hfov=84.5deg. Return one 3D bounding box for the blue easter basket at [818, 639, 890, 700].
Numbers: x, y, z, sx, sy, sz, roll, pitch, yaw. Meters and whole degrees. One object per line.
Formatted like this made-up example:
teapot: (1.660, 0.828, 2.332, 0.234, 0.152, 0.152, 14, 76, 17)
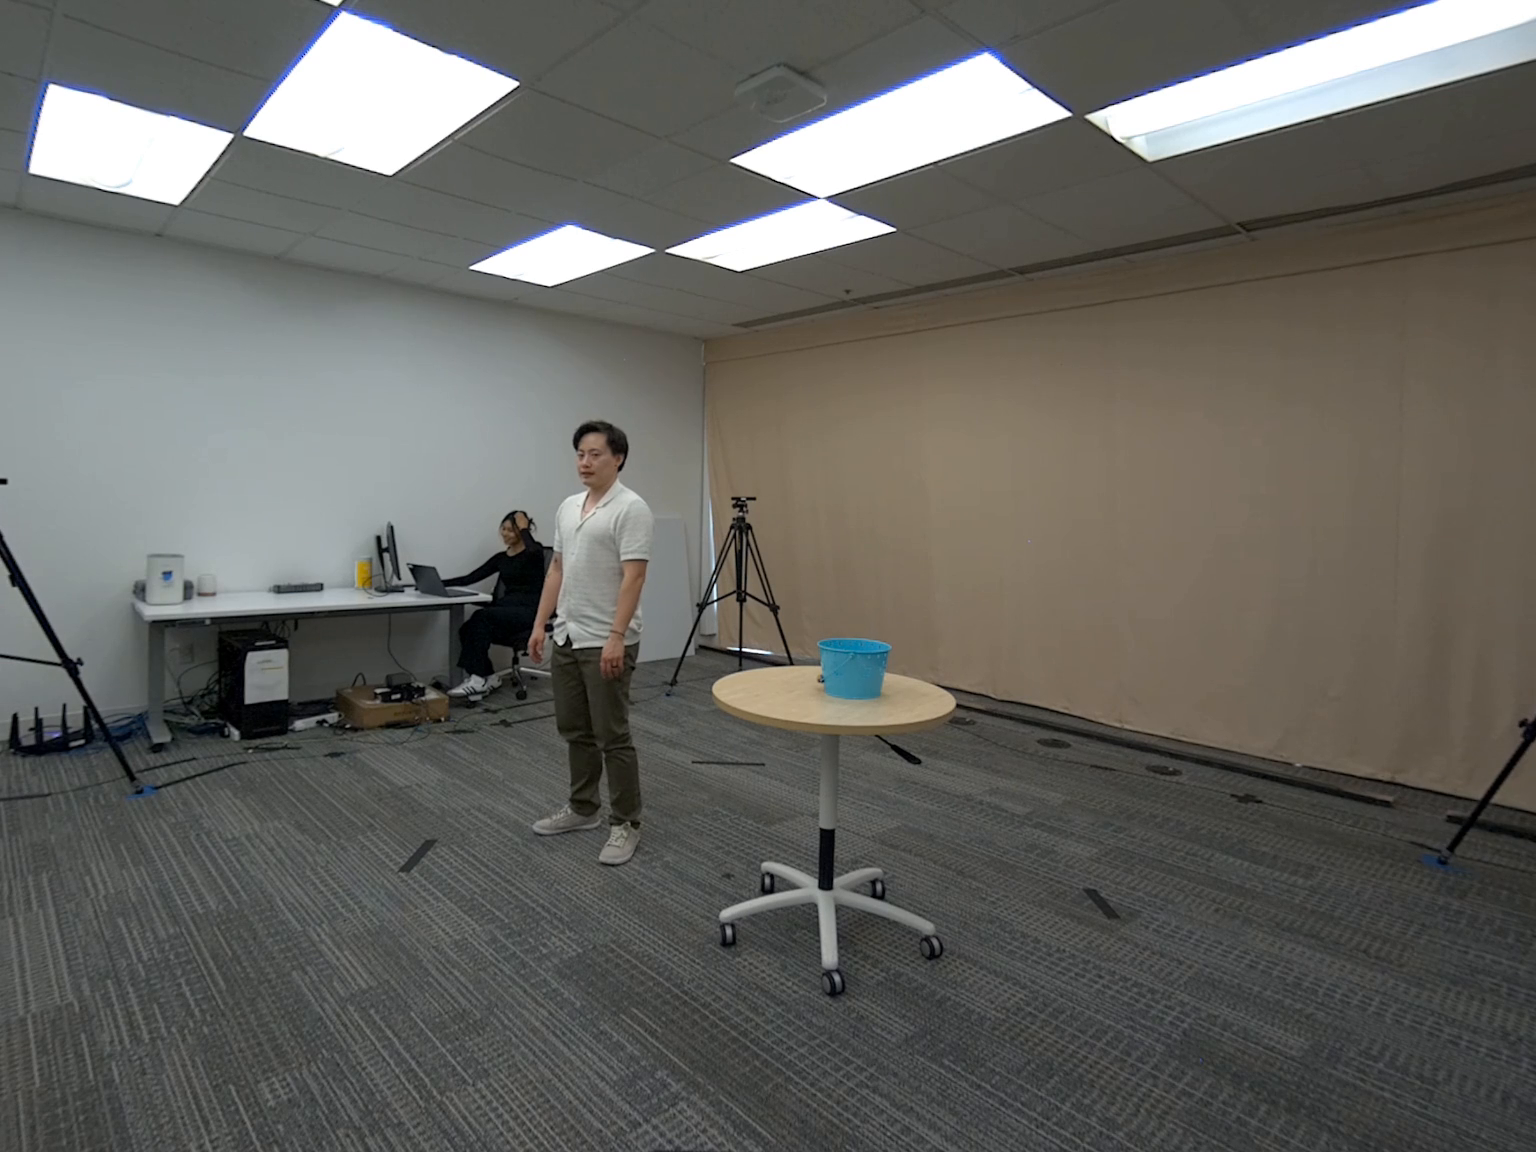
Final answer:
blue easter basket: (0.269, 0.300, 2.680, 0.243, 0.155, 0.244, 2, 5, -2)
